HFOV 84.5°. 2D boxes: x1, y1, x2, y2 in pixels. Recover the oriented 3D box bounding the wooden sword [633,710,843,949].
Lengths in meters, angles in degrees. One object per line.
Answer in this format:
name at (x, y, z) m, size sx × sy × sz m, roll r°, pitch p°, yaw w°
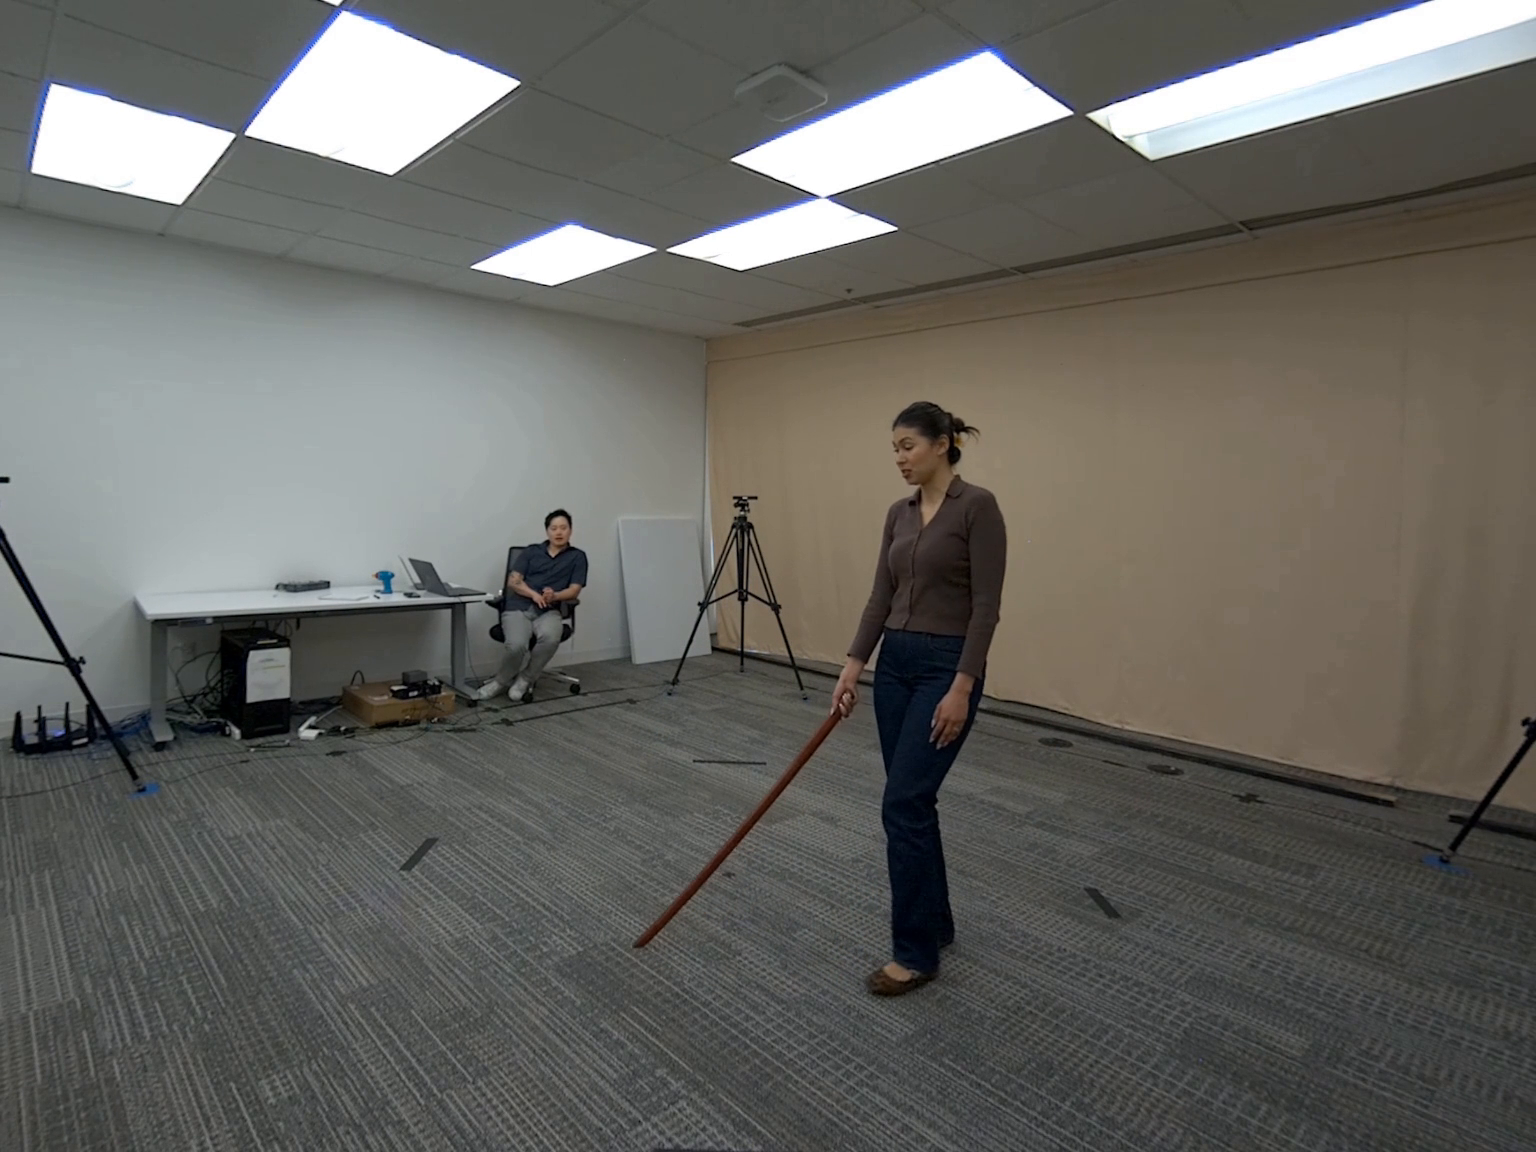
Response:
wooden sword at (-0.071, 0.759, 2.596) m, size 0.024 × 1.025 × 0.052 m, roll 40°, pitch -4°, yaw -12°
